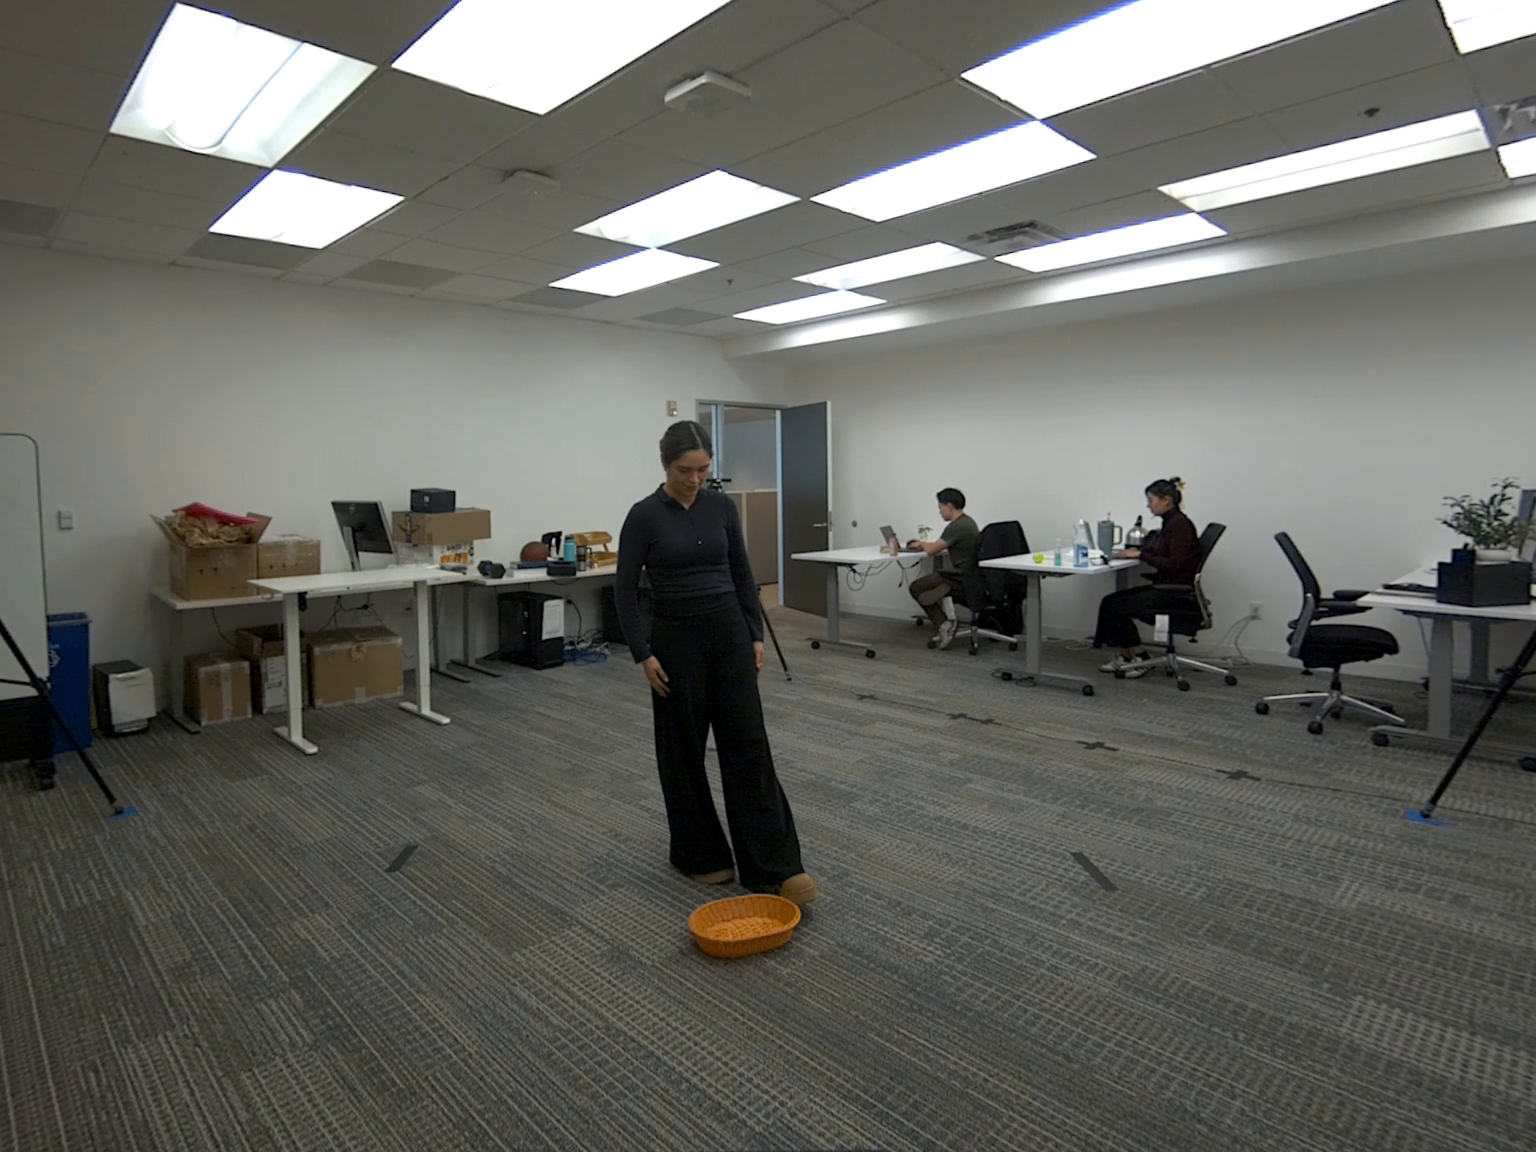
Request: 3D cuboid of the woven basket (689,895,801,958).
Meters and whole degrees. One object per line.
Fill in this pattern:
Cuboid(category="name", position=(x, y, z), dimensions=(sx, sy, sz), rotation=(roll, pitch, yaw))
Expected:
Cuboid(category="woven basket", position=(-0.072, 1.066, 2.593), dimensions=(0.345, 0.073, 0.257), rotation=(-3, 5, -18))
